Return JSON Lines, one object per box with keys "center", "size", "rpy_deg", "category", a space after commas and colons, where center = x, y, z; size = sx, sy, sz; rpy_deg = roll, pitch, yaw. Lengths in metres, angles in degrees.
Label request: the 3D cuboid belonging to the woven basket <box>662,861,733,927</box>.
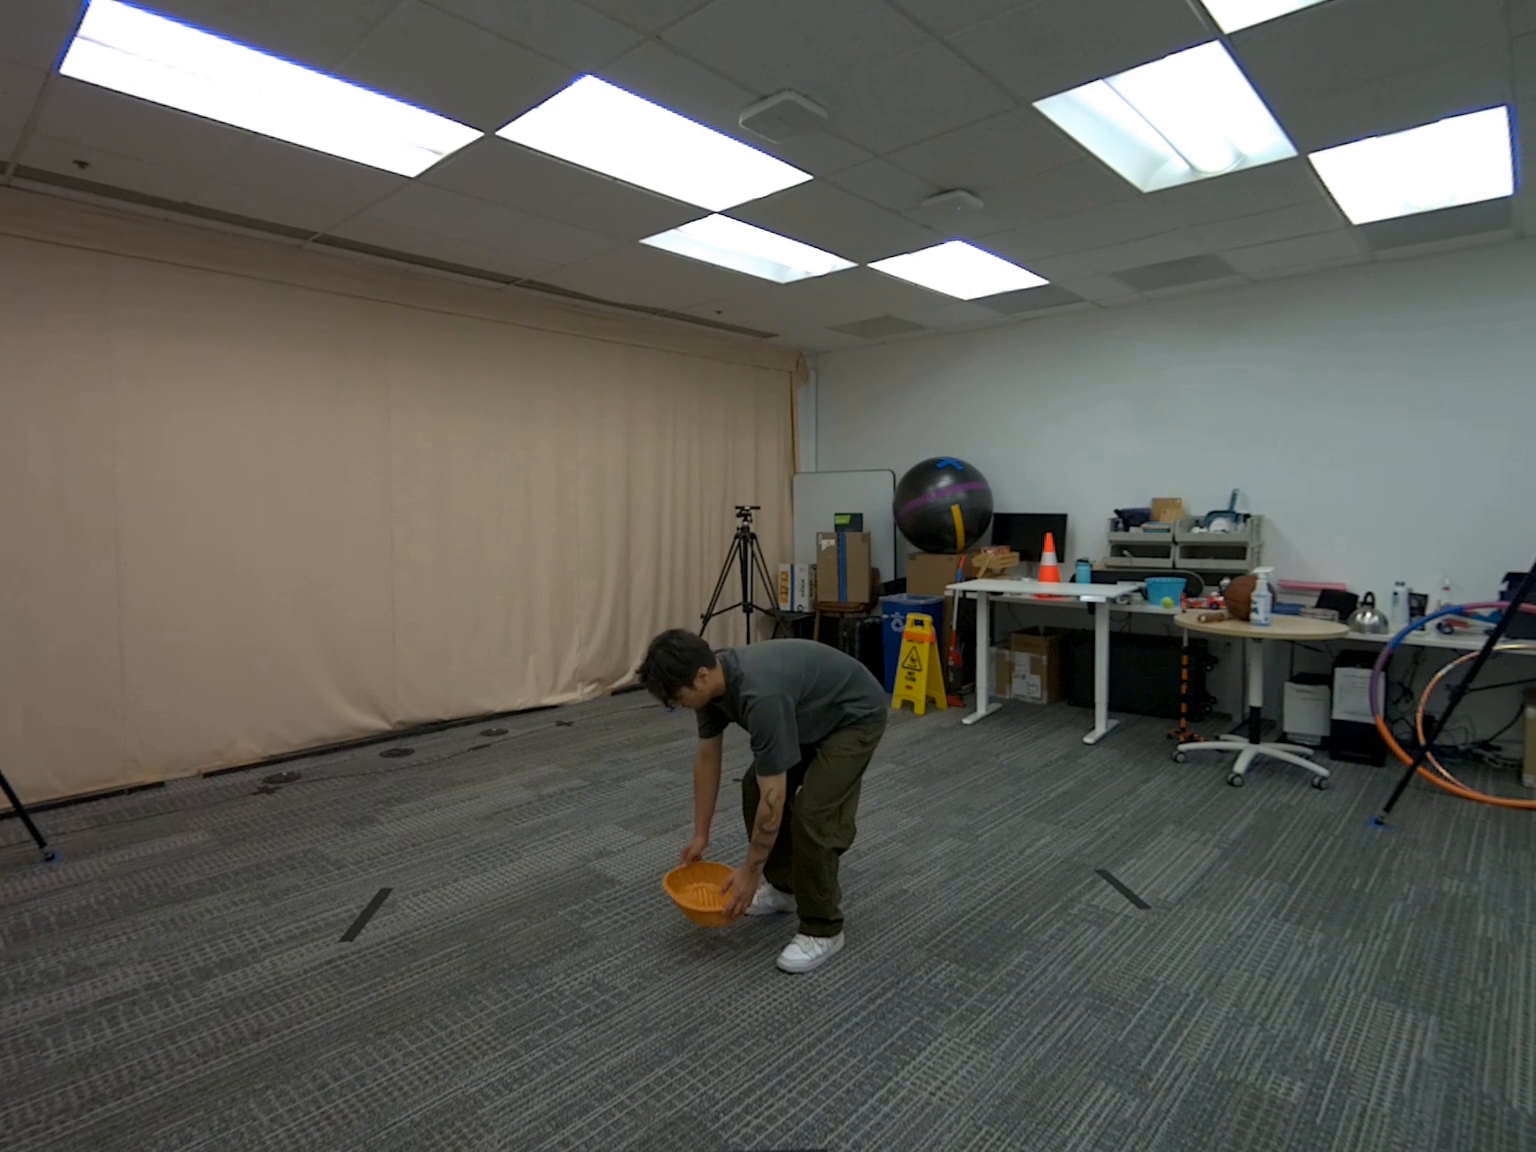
{"center": [-0.183, 1.007, 2.660], "size": [0.248, 0.073, 0.358], "rpy_deg": [-6, 7, -20], "category": "woven basket"}
